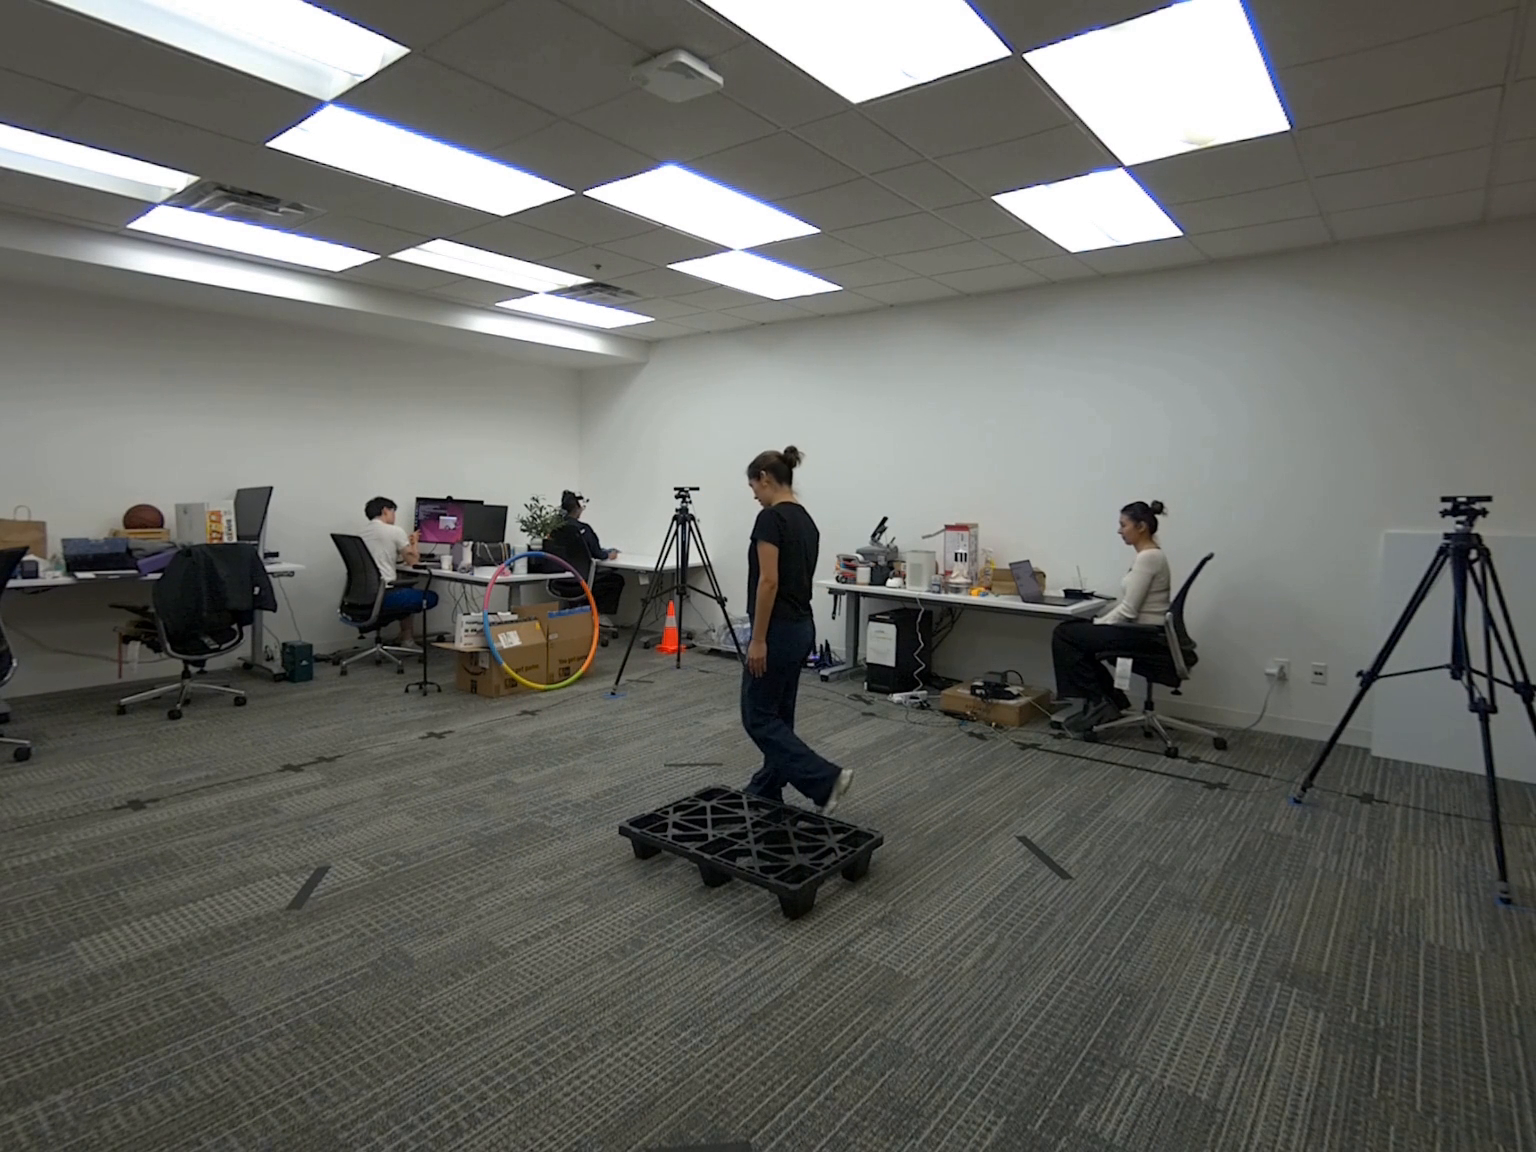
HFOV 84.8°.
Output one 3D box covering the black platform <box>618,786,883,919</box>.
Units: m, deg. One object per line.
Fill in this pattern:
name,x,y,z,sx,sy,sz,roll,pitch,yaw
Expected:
black platform,-0.056,0.999,3.163,0.833,0.143,0.587,6,7,38
